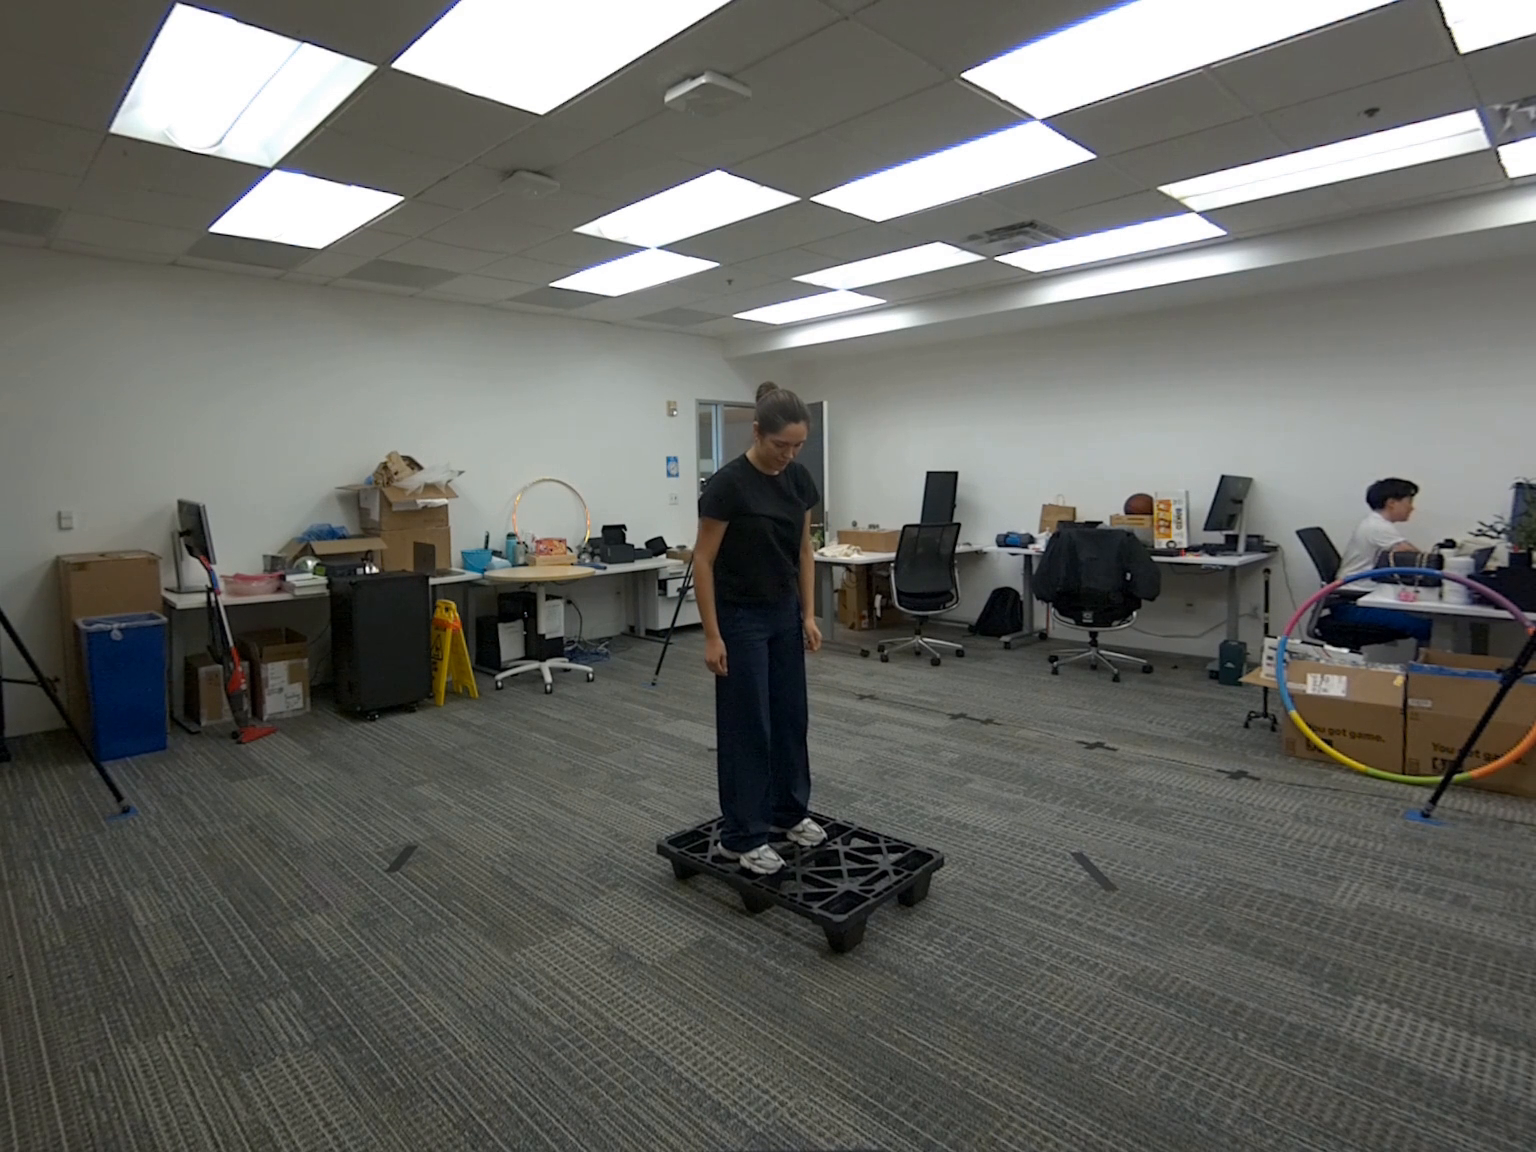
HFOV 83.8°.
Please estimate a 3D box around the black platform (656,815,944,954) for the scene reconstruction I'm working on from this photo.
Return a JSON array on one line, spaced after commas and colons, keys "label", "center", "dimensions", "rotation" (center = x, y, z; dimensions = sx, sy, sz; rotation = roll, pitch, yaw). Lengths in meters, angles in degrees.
[{"label": "black platform", "center": [0.096, 0.993, 2.927], "dimensions": [0.830, 0.142, 0.590], "rotation": [5, 9, 43]}]
